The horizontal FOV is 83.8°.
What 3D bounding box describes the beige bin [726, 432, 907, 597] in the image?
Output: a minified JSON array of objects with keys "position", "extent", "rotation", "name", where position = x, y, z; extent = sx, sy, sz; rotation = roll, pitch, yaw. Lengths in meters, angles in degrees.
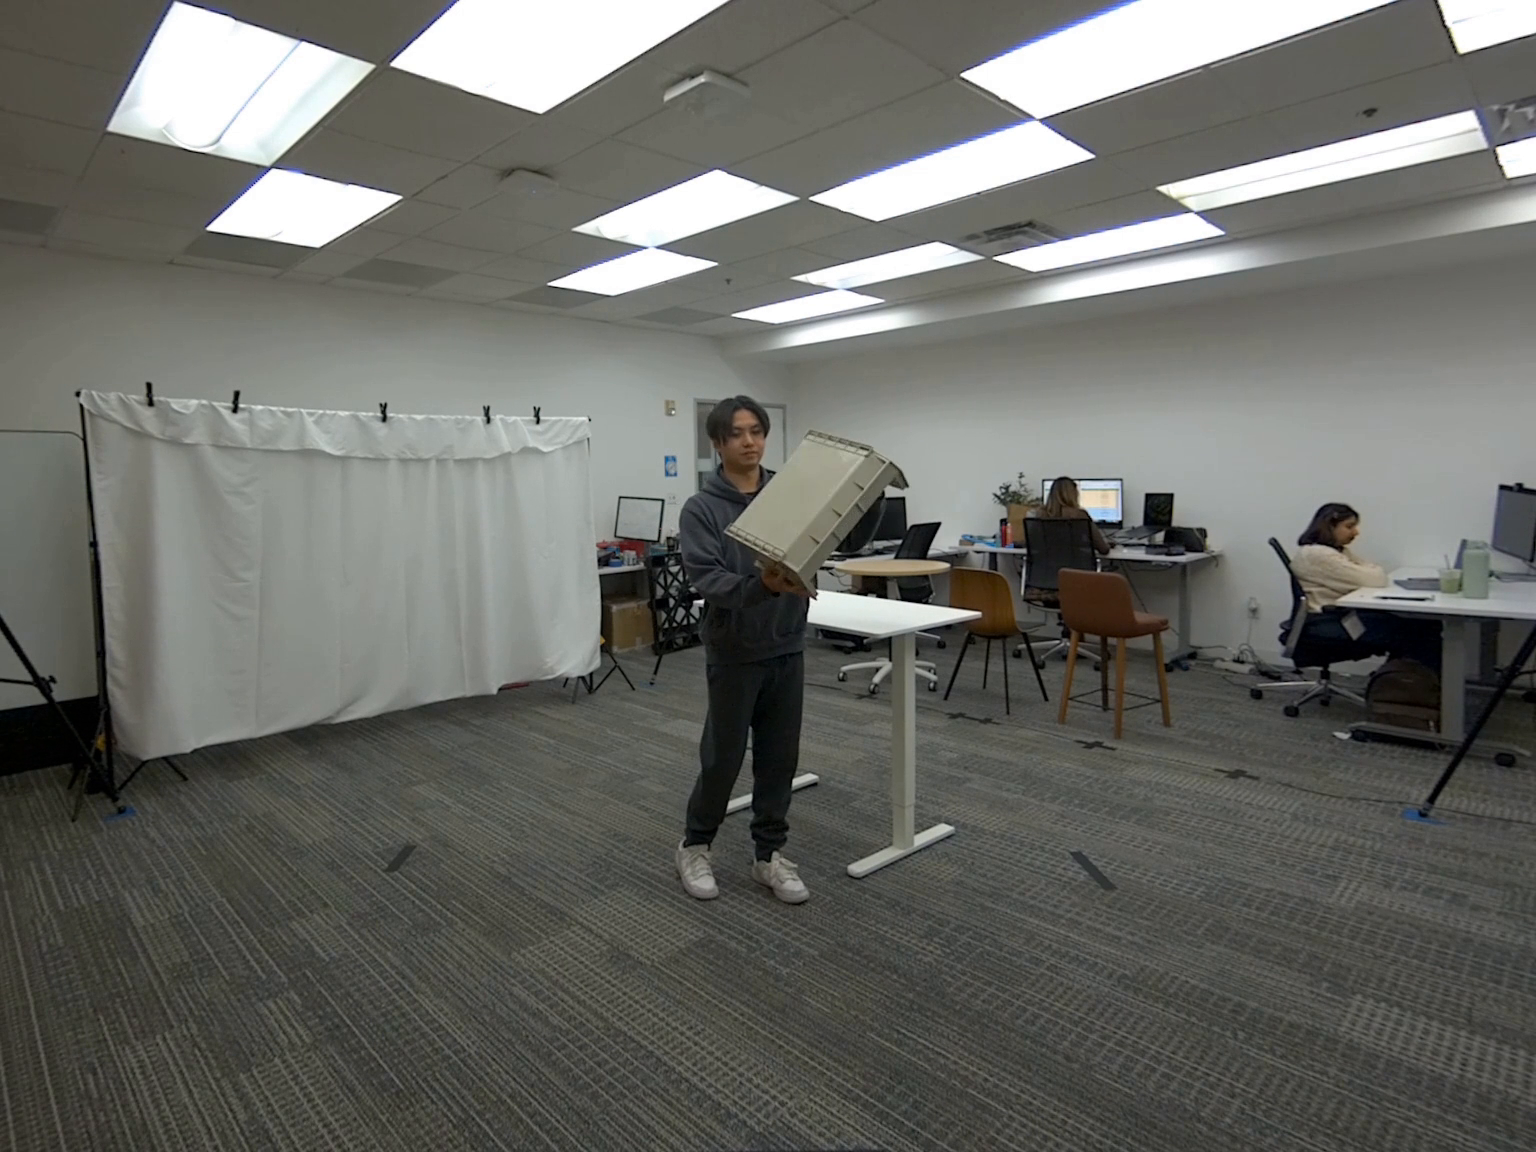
[{"position":[0.143,-0.183,2.469],"extent":[0.182,0.422,0.391],"rotation":[43,-8,-34],"name":"beige bin"}]
